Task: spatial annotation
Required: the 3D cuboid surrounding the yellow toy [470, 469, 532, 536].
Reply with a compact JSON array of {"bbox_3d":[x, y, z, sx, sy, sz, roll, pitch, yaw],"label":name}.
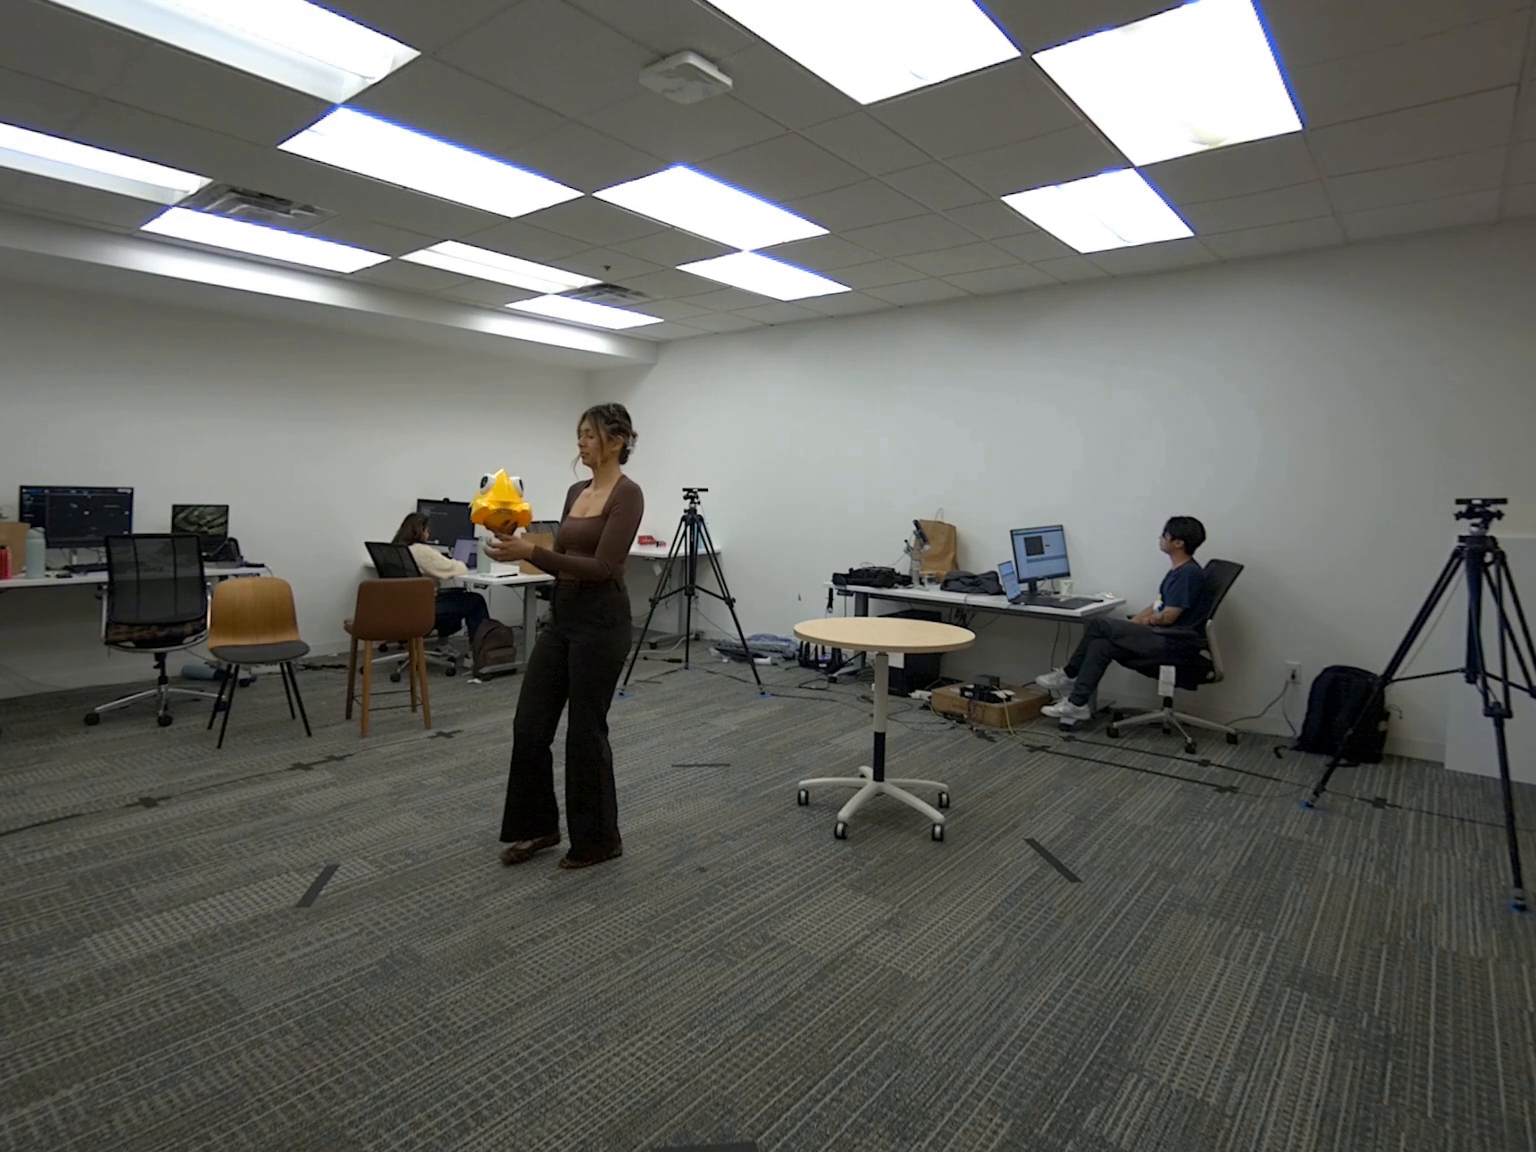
[{"bbox_3d":[-0.942,-0.306,2.968,0.200,0.236,0.193,4,-23,-22],"label":"yellow toy"}]
